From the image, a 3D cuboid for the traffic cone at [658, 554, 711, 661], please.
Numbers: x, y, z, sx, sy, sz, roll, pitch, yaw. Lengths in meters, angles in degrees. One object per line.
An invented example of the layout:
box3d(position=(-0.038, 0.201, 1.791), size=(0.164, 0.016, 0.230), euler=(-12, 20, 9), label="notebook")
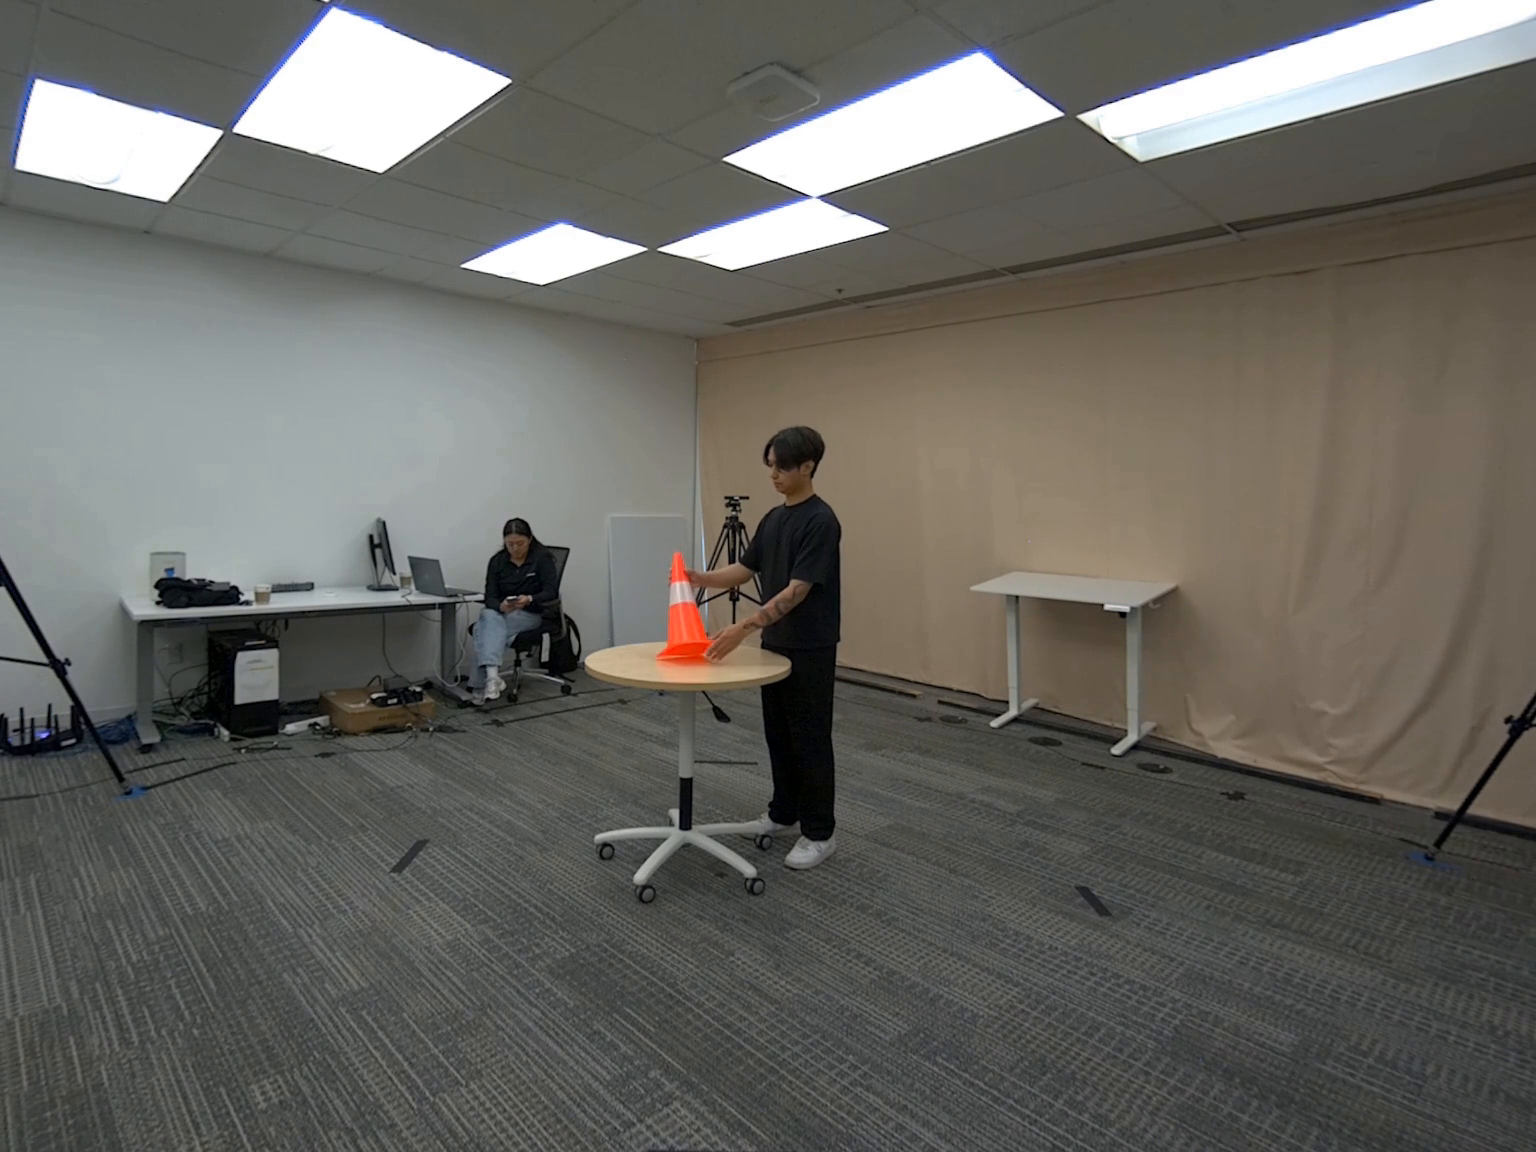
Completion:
box3d(position=(-0.331, 0.102, 3.181), size=(0.201, 0.390, 0.204), euler=(3, -22, -28), label="traffic cone")
